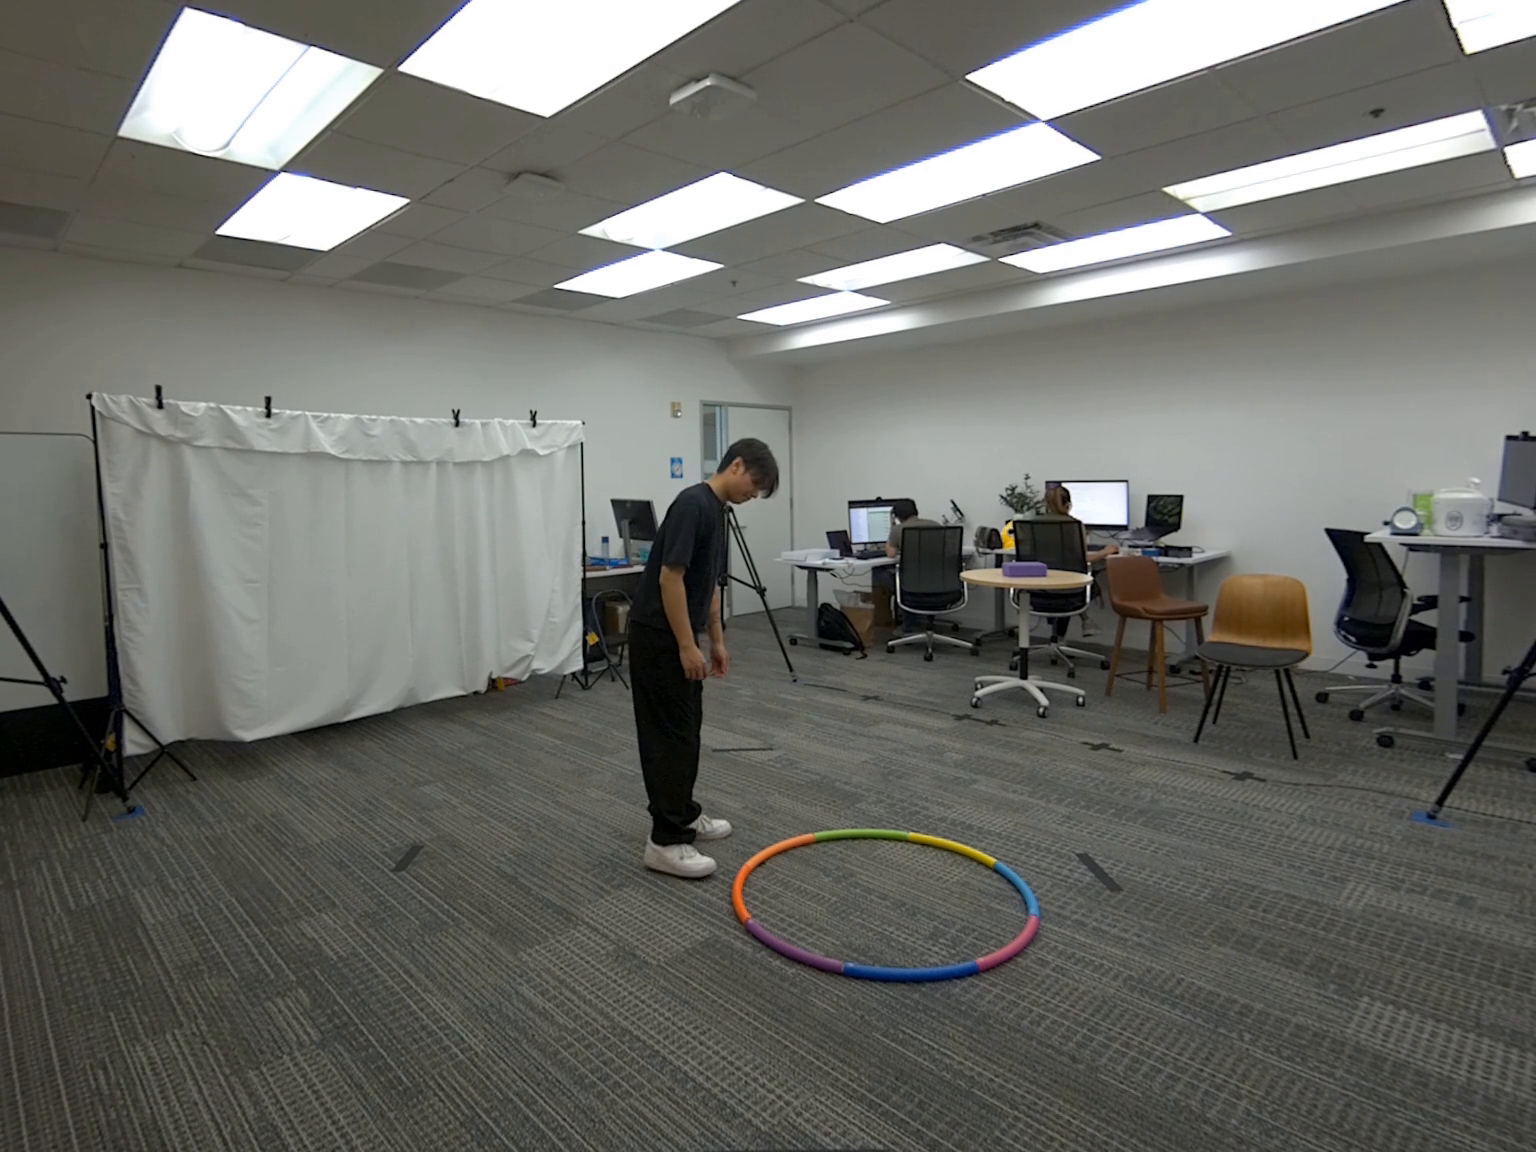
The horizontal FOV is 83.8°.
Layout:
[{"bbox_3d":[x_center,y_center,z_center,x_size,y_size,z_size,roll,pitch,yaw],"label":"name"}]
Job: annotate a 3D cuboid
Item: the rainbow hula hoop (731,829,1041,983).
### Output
[{"bbox_3d":[0.372,1.041,2.845,0.978,0.035,0.984,-2,7,-2],"label":"rainbow hula hoop"}]
